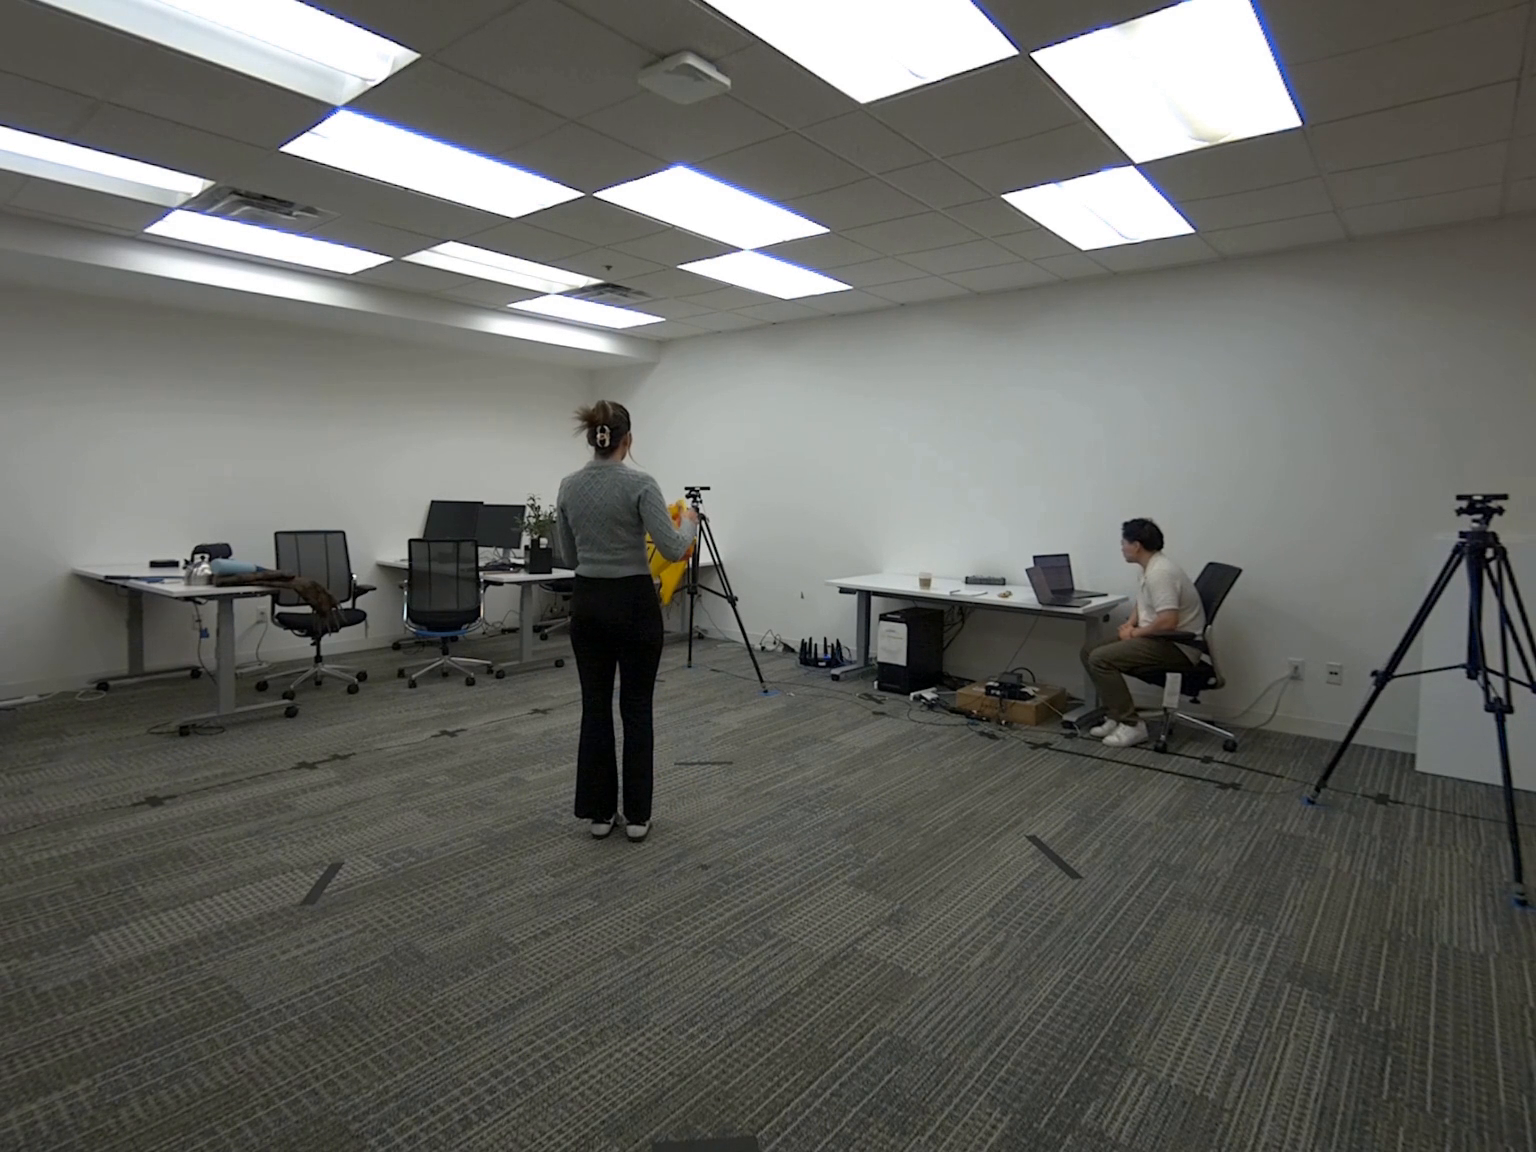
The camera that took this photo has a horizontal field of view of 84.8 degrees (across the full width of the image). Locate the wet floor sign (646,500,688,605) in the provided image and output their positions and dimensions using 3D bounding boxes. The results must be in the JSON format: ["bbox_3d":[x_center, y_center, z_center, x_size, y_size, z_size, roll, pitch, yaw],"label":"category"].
[{"bbox_3d":[-0.495,-0.105,3.750,0.282,0.289,0.648,-5,-22,-35],"label":"wet floor sign"}]
